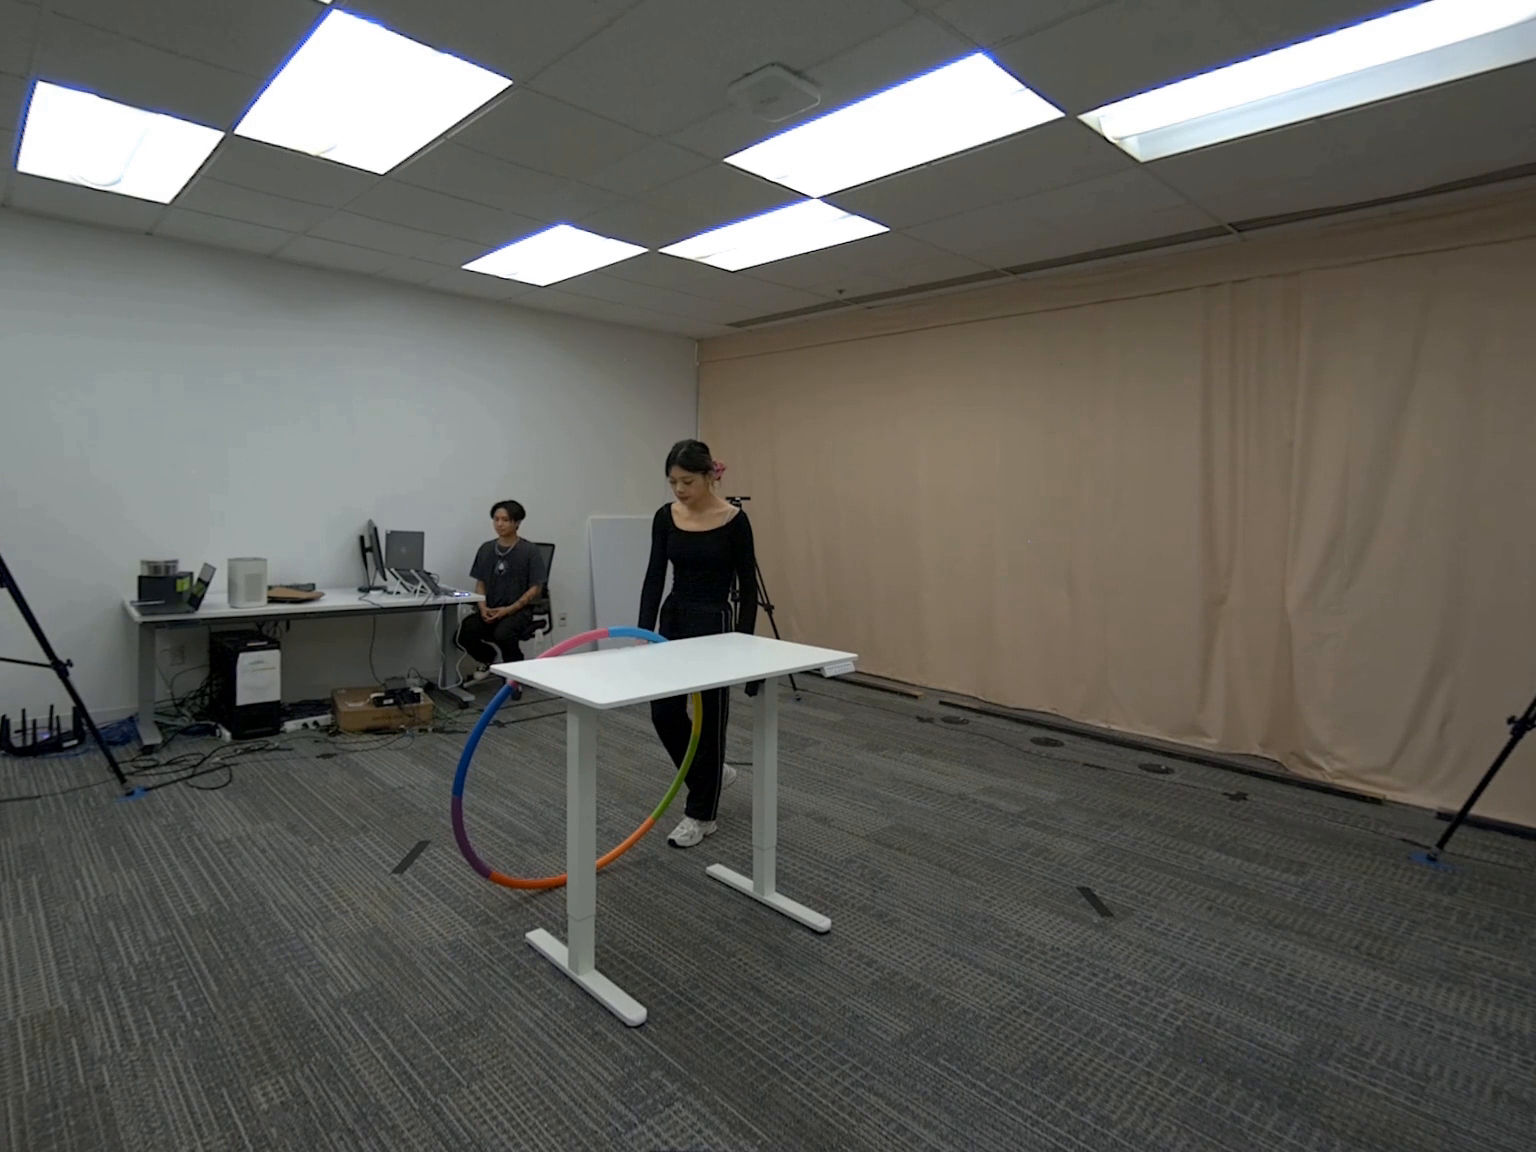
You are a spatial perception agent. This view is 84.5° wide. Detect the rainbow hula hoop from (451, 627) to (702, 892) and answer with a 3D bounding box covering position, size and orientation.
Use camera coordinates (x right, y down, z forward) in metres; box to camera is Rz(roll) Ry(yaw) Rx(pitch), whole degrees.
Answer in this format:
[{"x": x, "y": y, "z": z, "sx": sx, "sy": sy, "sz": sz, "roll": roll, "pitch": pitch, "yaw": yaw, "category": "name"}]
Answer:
[{"x": -0.632, "y": 0.642, "z": 2.910, "sx": 0.956, "sy": 0.971, "sz": 0.036, "roll": -3, "pitch": 20, "yaw": -45, "category": "rainbow hula hoop"}]
